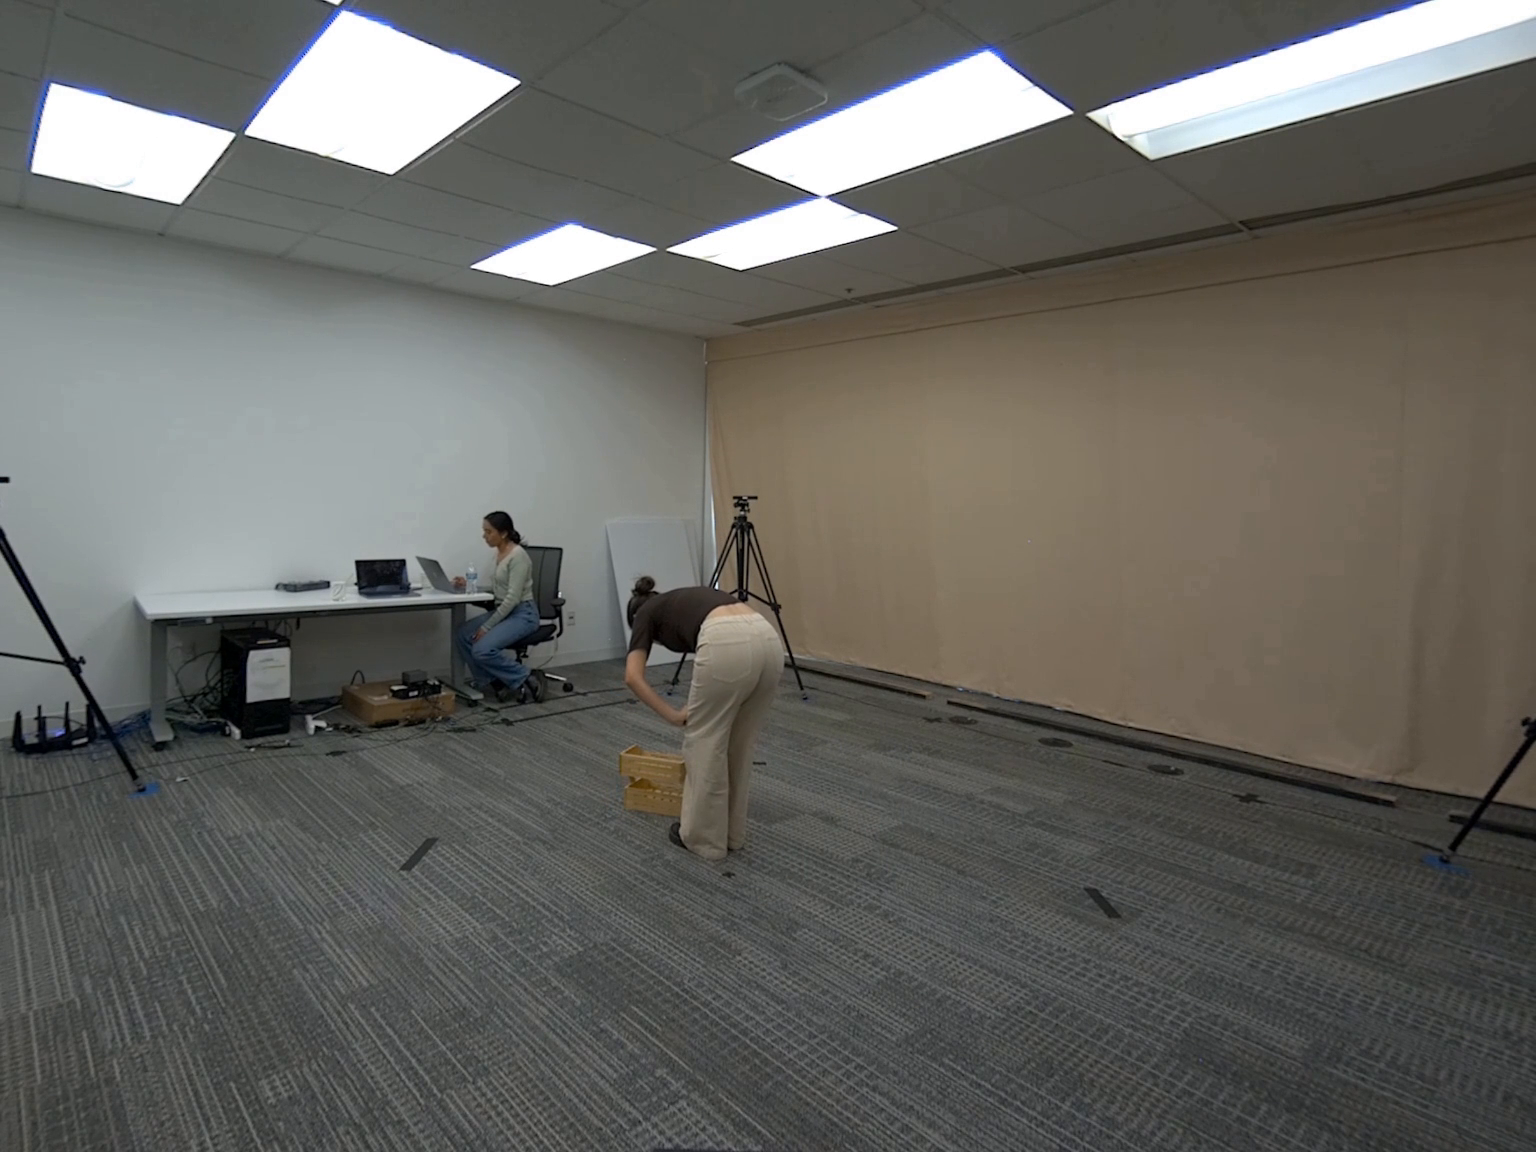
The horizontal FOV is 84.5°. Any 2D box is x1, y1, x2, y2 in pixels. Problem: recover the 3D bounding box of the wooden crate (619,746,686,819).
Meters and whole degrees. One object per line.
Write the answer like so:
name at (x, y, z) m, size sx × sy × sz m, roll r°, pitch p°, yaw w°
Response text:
wooden crate at (-0.475, 0.902, 3.785) m, size 0.330 × 0.272 × 0.298 m, roll 3°, pitch 6°, yaw 21°
